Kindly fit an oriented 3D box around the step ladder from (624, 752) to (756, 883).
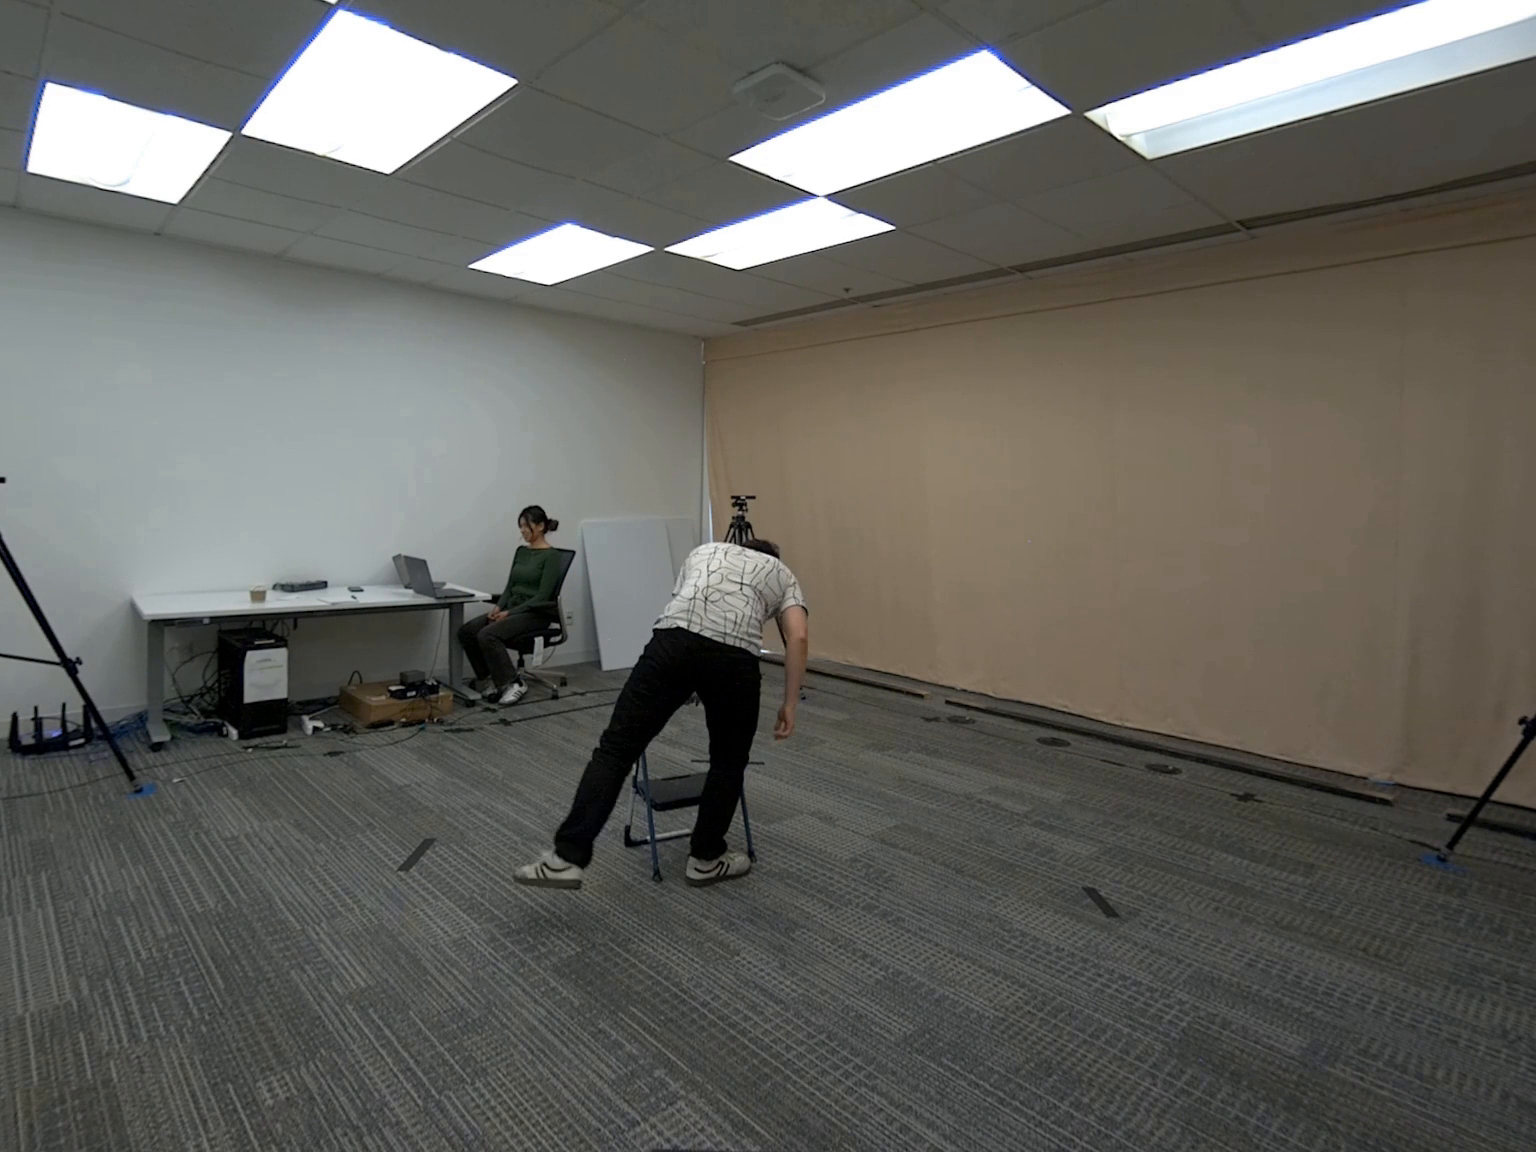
[{"bbox_3d":[-0.307,0.781,3.267,0.422,0.604,0.357,-1,5,-30],"label":"step ladder"}]
